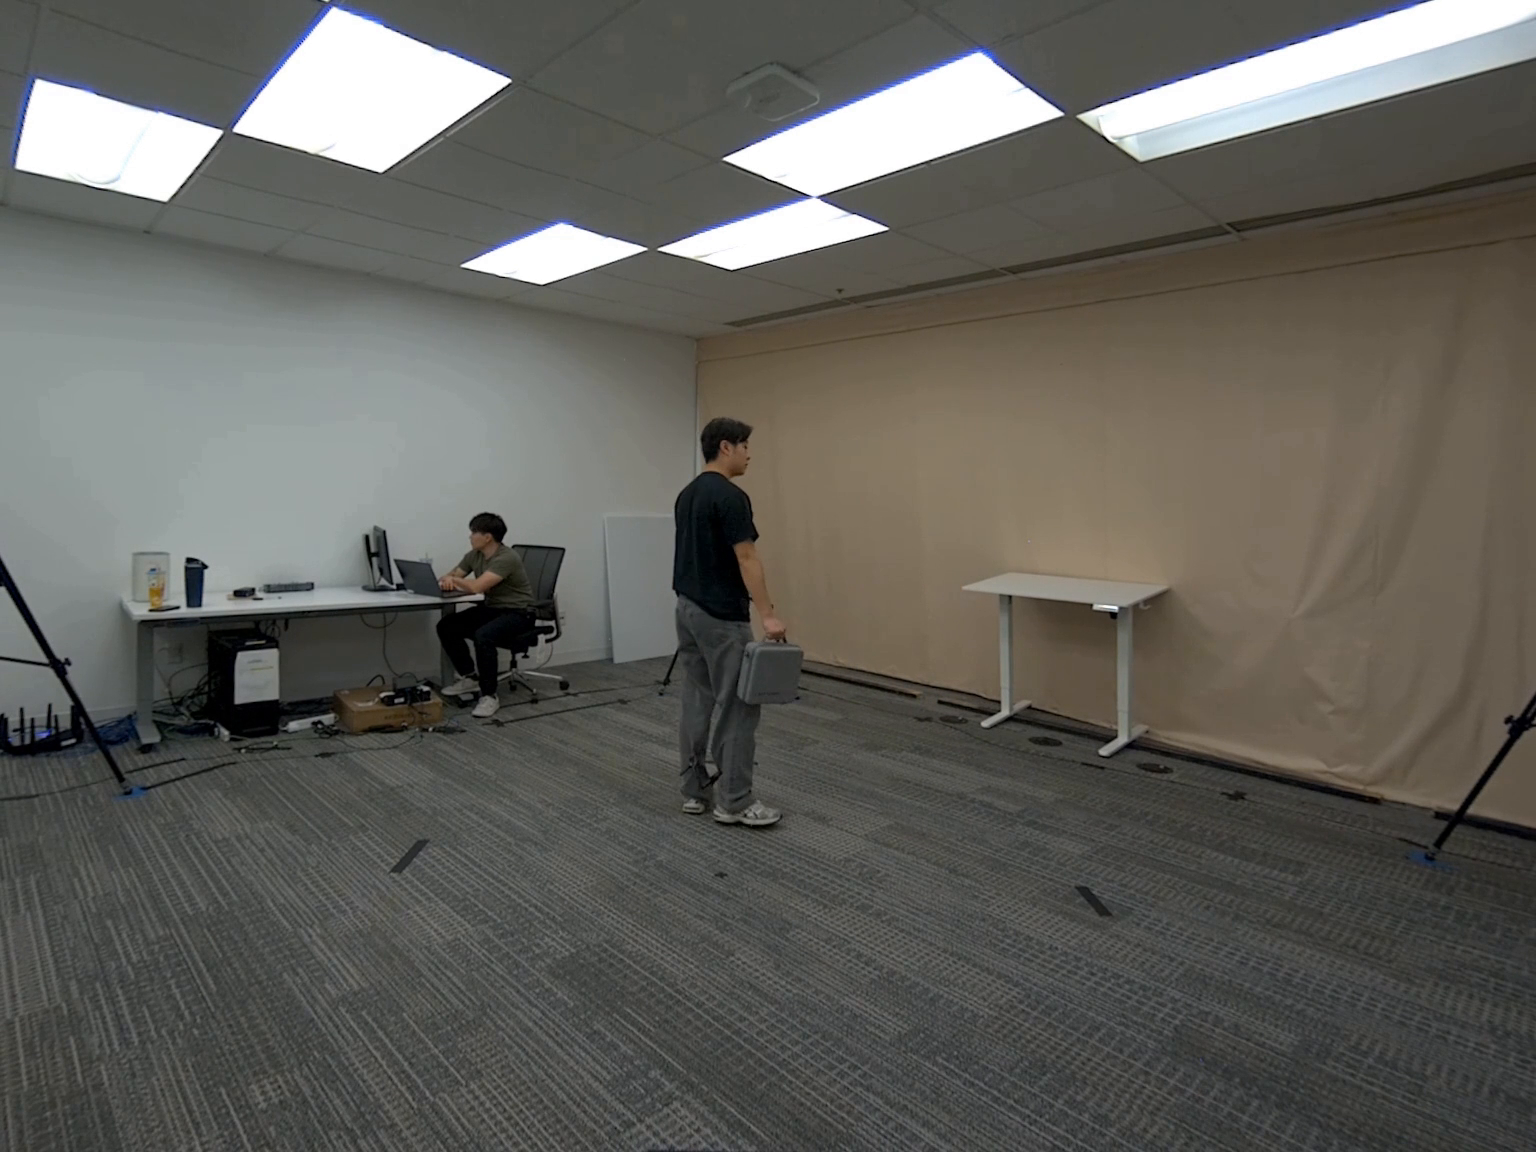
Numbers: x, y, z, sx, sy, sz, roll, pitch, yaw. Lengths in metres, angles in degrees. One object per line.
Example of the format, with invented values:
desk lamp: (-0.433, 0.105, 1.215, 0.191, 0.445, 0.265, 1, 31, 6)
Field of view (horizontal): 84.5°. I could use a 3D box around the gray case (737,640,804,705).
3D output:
gray case: (0.004, 0.392, 3.525, 0.258, 0.286, 0.105, 6, 7, -26)
